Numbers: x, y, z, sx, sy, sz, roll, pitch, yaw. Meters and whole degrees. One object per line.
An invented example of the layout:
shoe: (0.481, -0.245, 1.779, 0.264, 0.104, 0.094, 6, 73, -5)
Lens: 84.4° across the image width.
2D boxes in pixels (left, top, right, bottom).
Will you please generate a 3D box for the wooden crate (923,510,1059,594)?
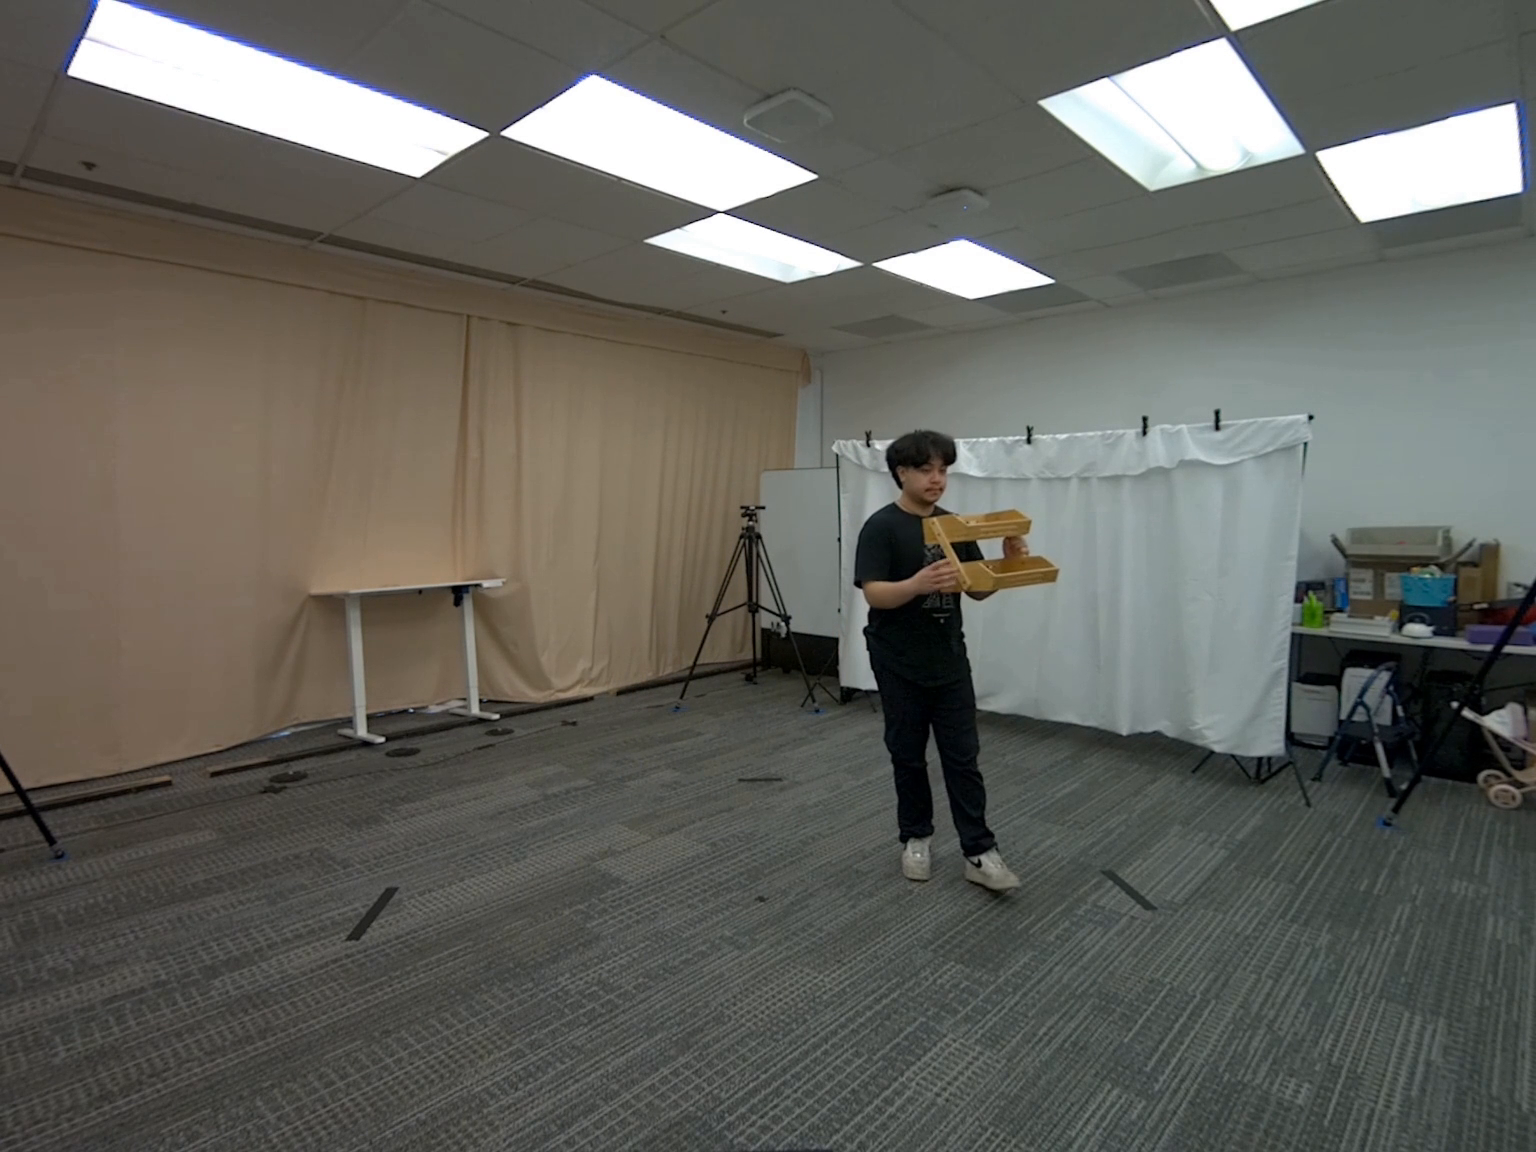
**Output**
wooden crate: (0.761, -0.095, 2.878, 0.316, 0.274, 0.309, -6, -1, -29)
